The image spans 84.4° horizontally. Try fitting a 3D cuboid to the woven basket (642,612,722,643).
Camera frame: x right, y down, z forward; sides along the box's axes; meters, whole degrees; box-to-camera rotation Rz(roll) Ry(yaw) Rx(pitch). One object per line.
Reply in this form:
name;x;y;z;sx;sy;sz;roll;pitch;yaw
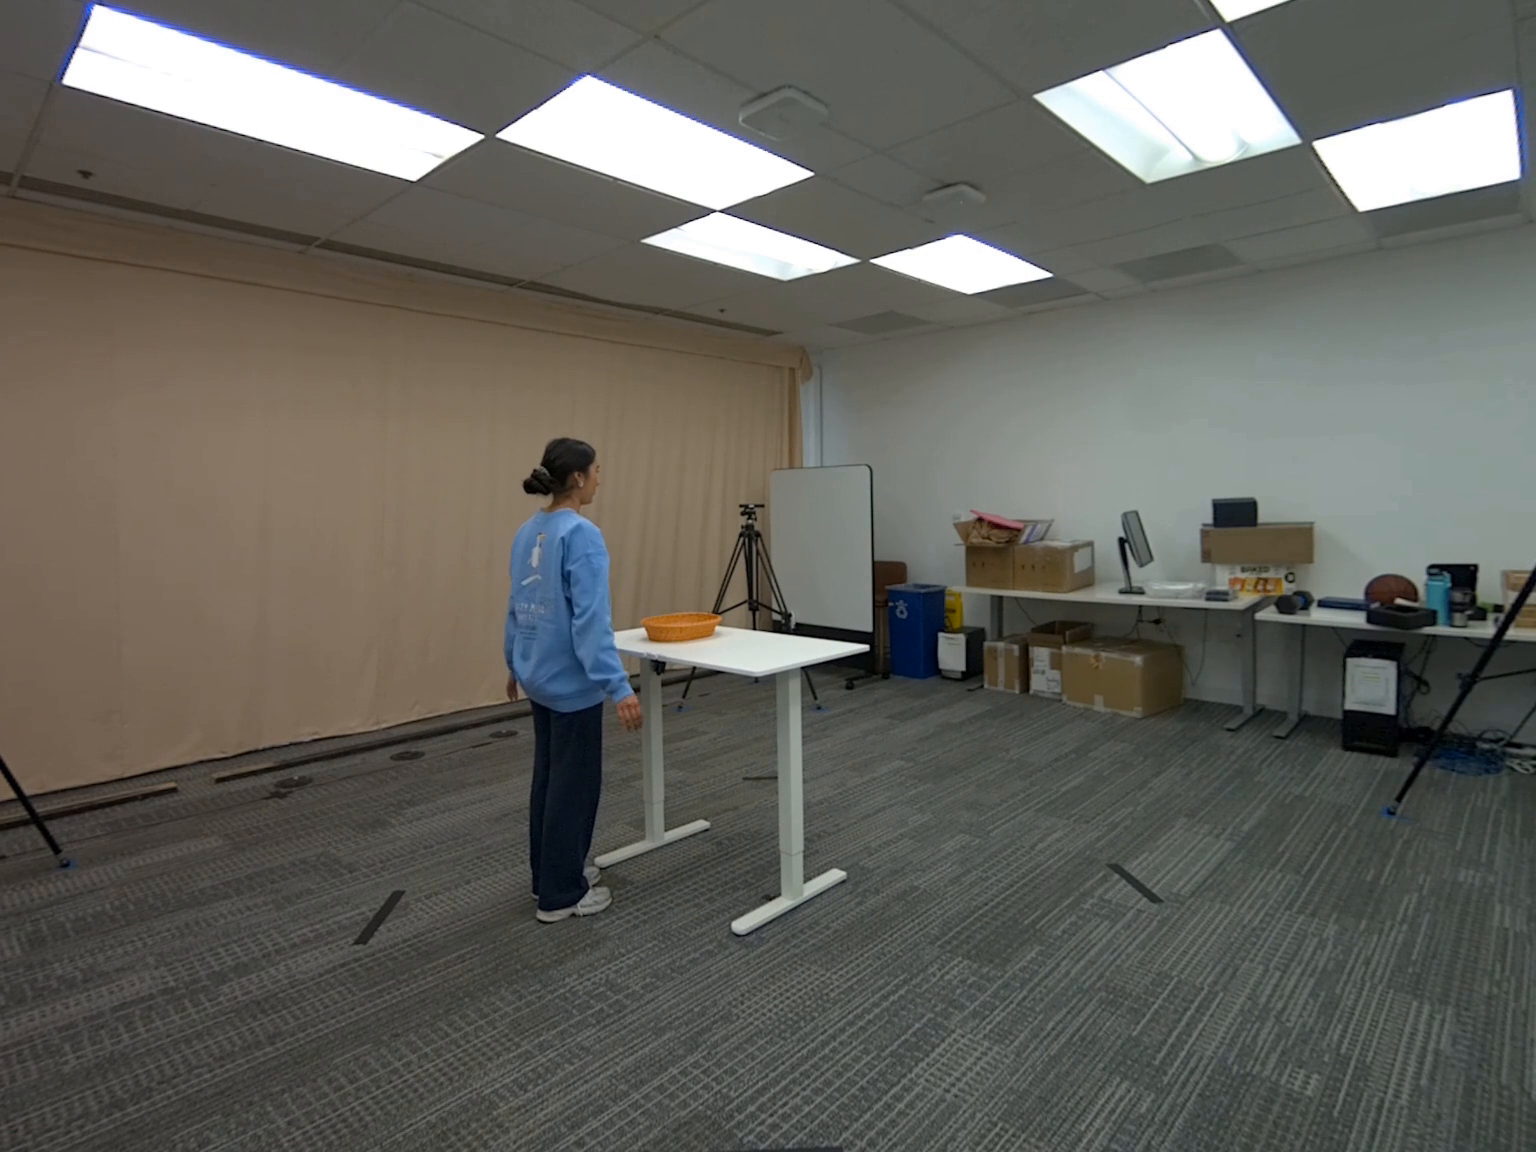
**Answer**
woven basket;-0.333;0.208;3.301;0.261;0.073;0.340;6;9;43
